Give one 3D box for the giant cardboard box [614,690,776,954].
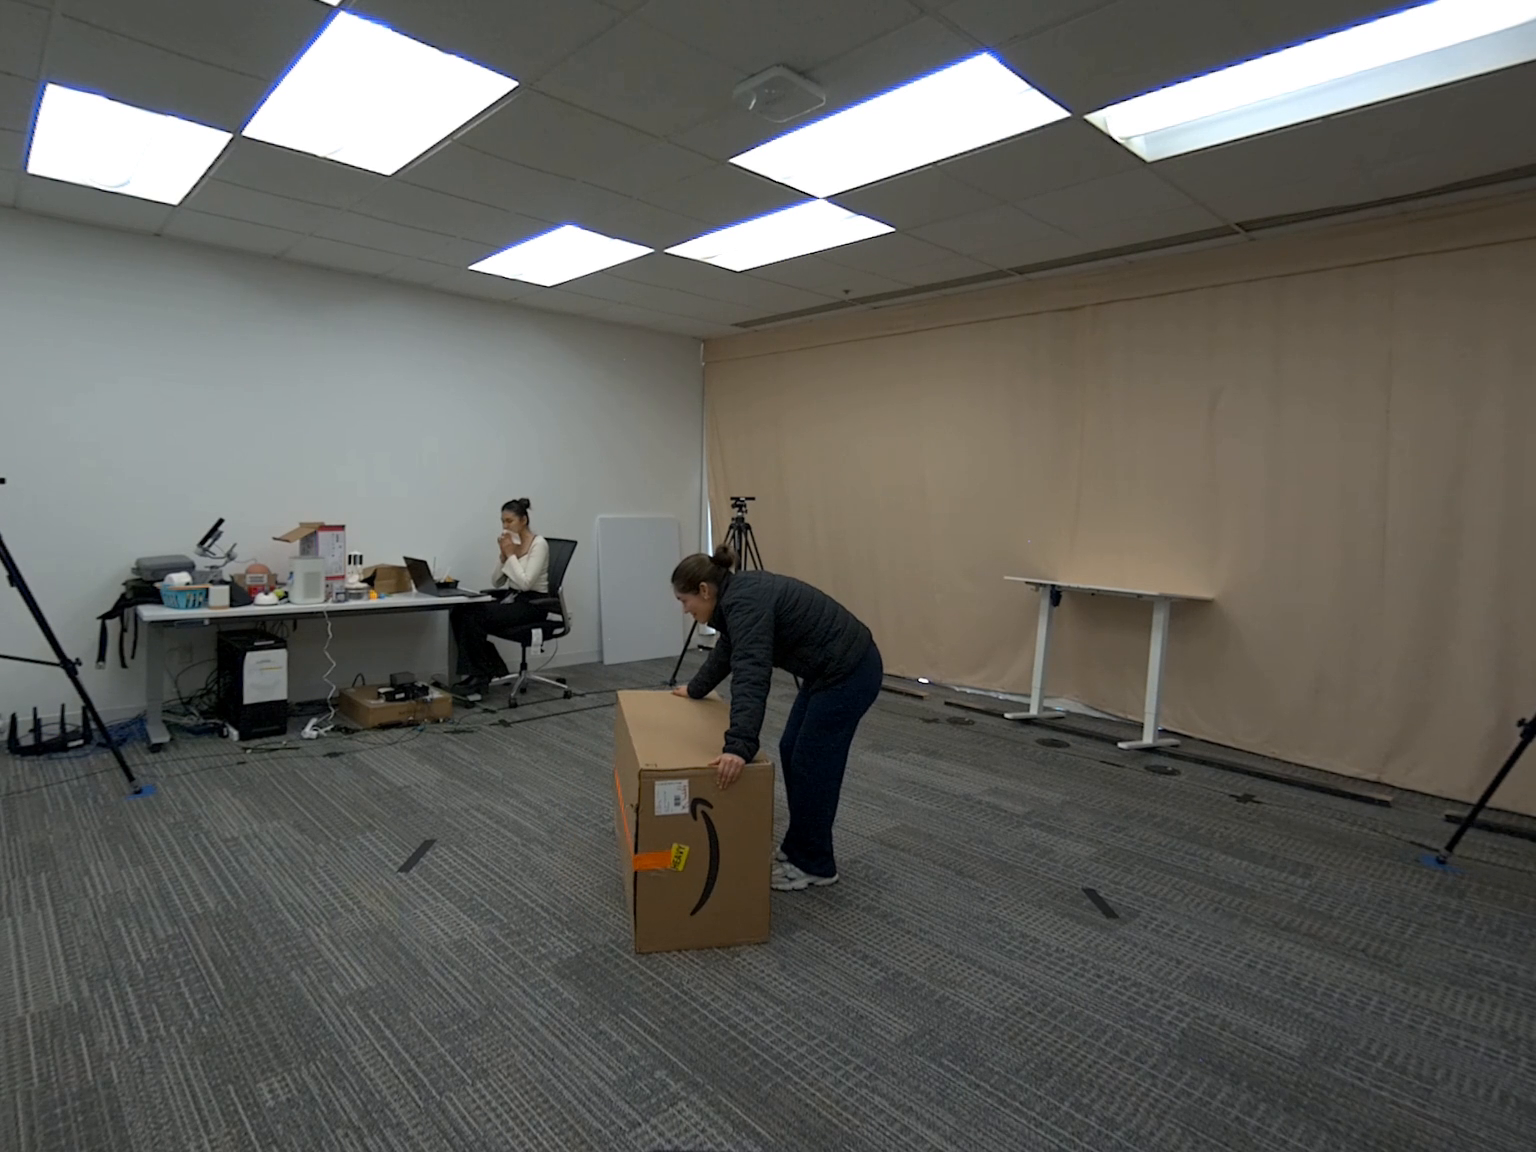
[{"bbox_3d":[-0.322,0.820,3.067,0.442,0.583,1.039,2,4,-13],"label":"giant cardboard box"}]
